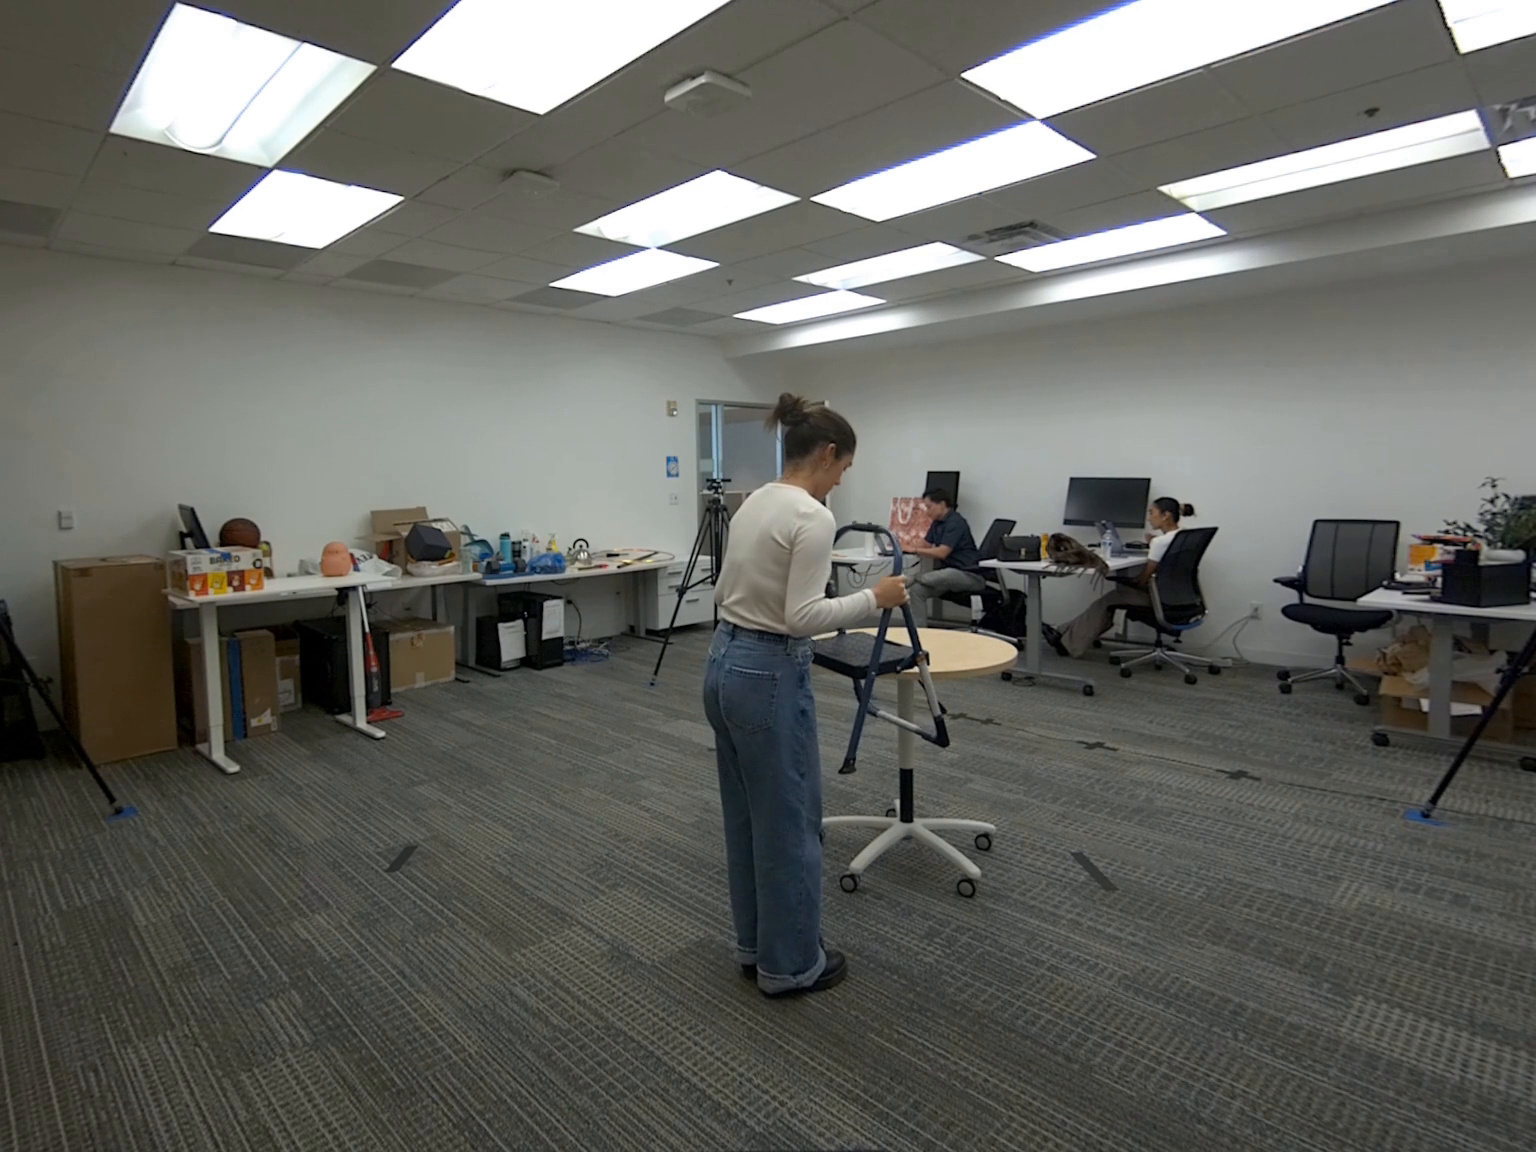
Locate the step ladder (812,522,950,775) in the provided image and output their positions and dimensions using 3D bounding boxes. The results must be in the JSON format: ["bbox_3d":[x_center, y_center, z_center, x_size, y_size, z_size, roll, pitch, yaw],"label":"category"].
[{"bbox_3d":[0.236,0.166,2.397,0.342,0.602,0.442,-6,8,-26],"label":"step ladder"}]
